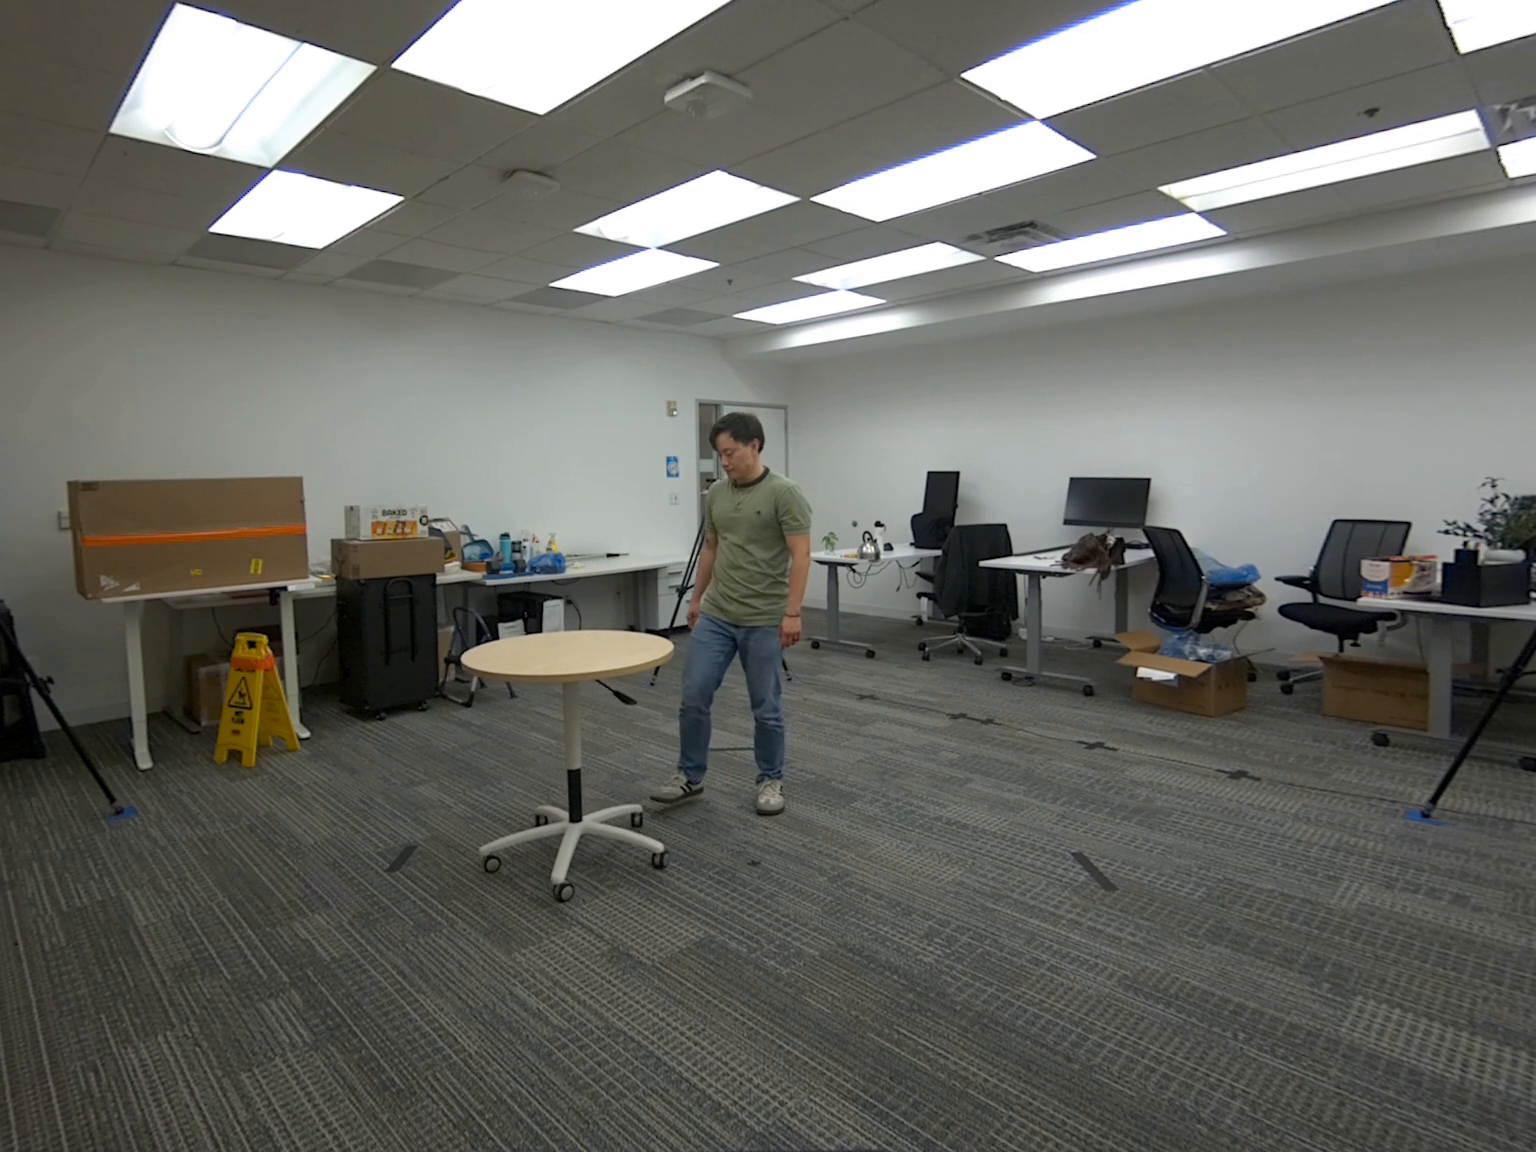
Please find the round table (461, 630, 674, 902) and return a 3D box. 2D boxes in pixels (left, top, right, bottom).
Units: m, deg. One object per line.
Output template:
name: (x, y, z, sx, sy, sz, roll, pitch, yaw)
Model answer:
round table: (-0.716, 0.661, 3.165, 0.763, 0.791, 0.768, -2, 5, -2)
